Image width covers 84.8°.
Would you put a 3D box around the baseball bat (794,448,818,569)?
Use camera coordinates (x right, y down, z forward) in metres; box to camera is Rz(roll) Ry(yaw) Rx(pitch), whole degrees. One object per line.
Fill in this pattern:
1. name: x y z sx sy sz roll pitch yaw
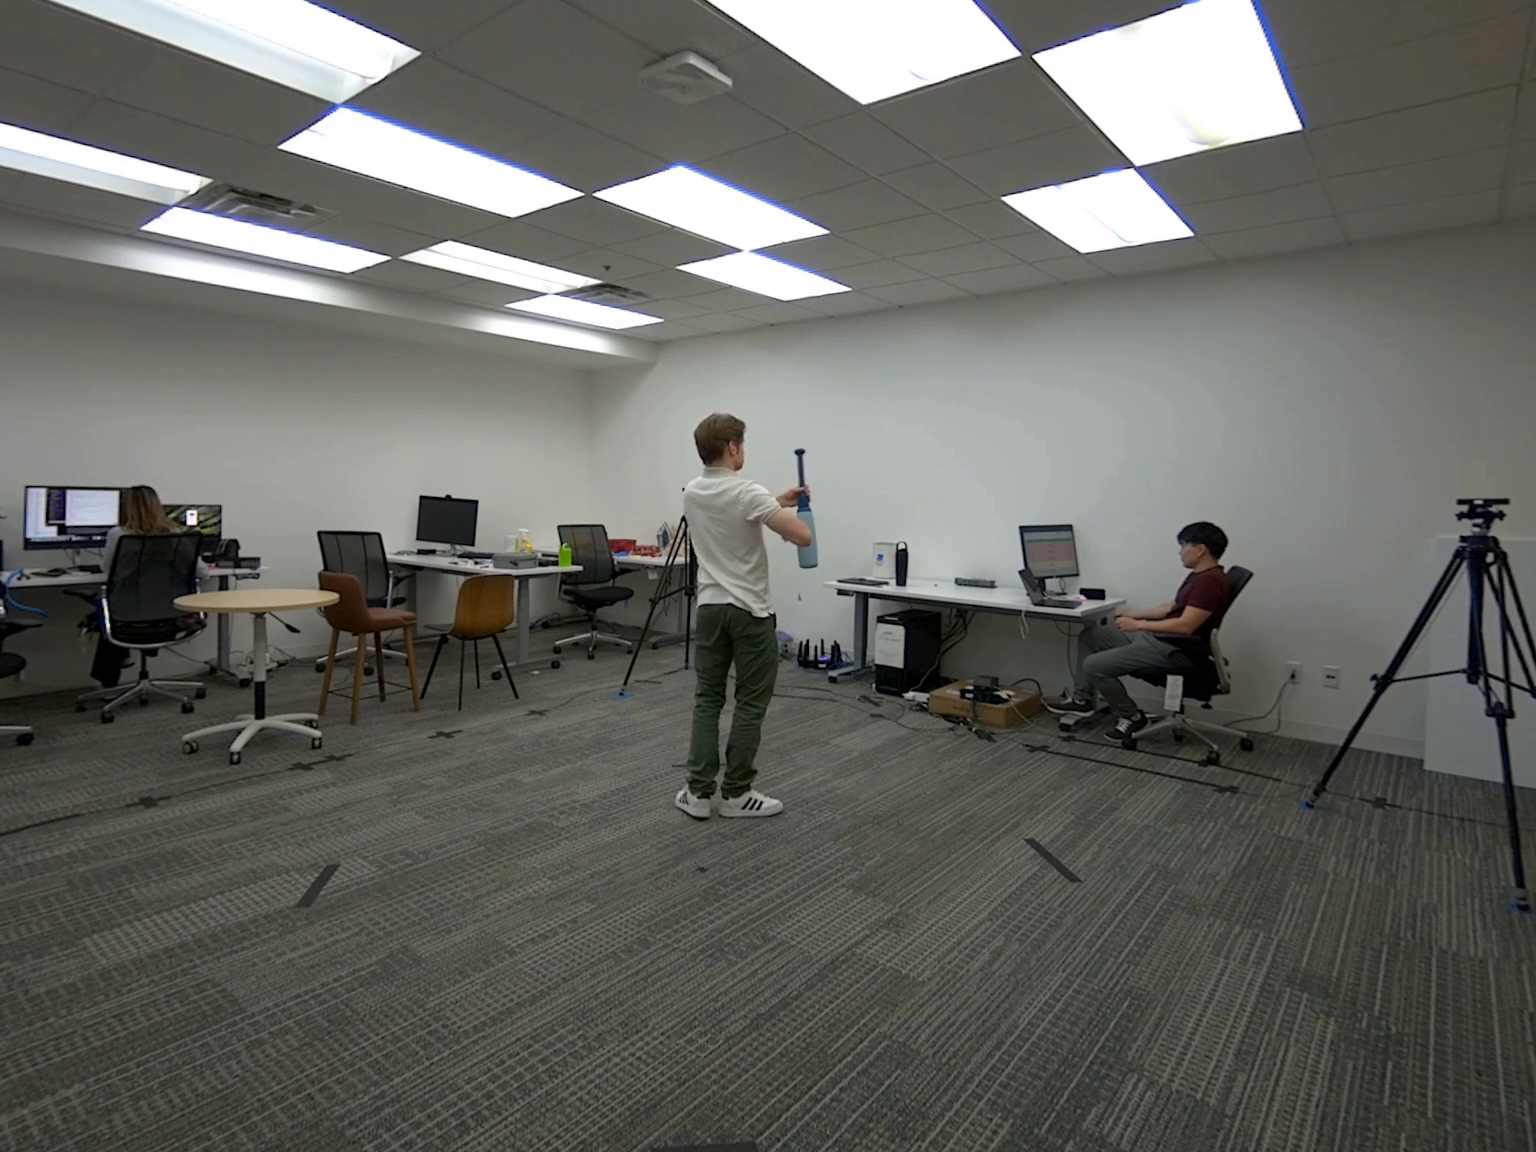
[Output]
1. baseball bat: 0.148 -0.314 3.824 0.089 0.545 0.089 -3 -4 -2
